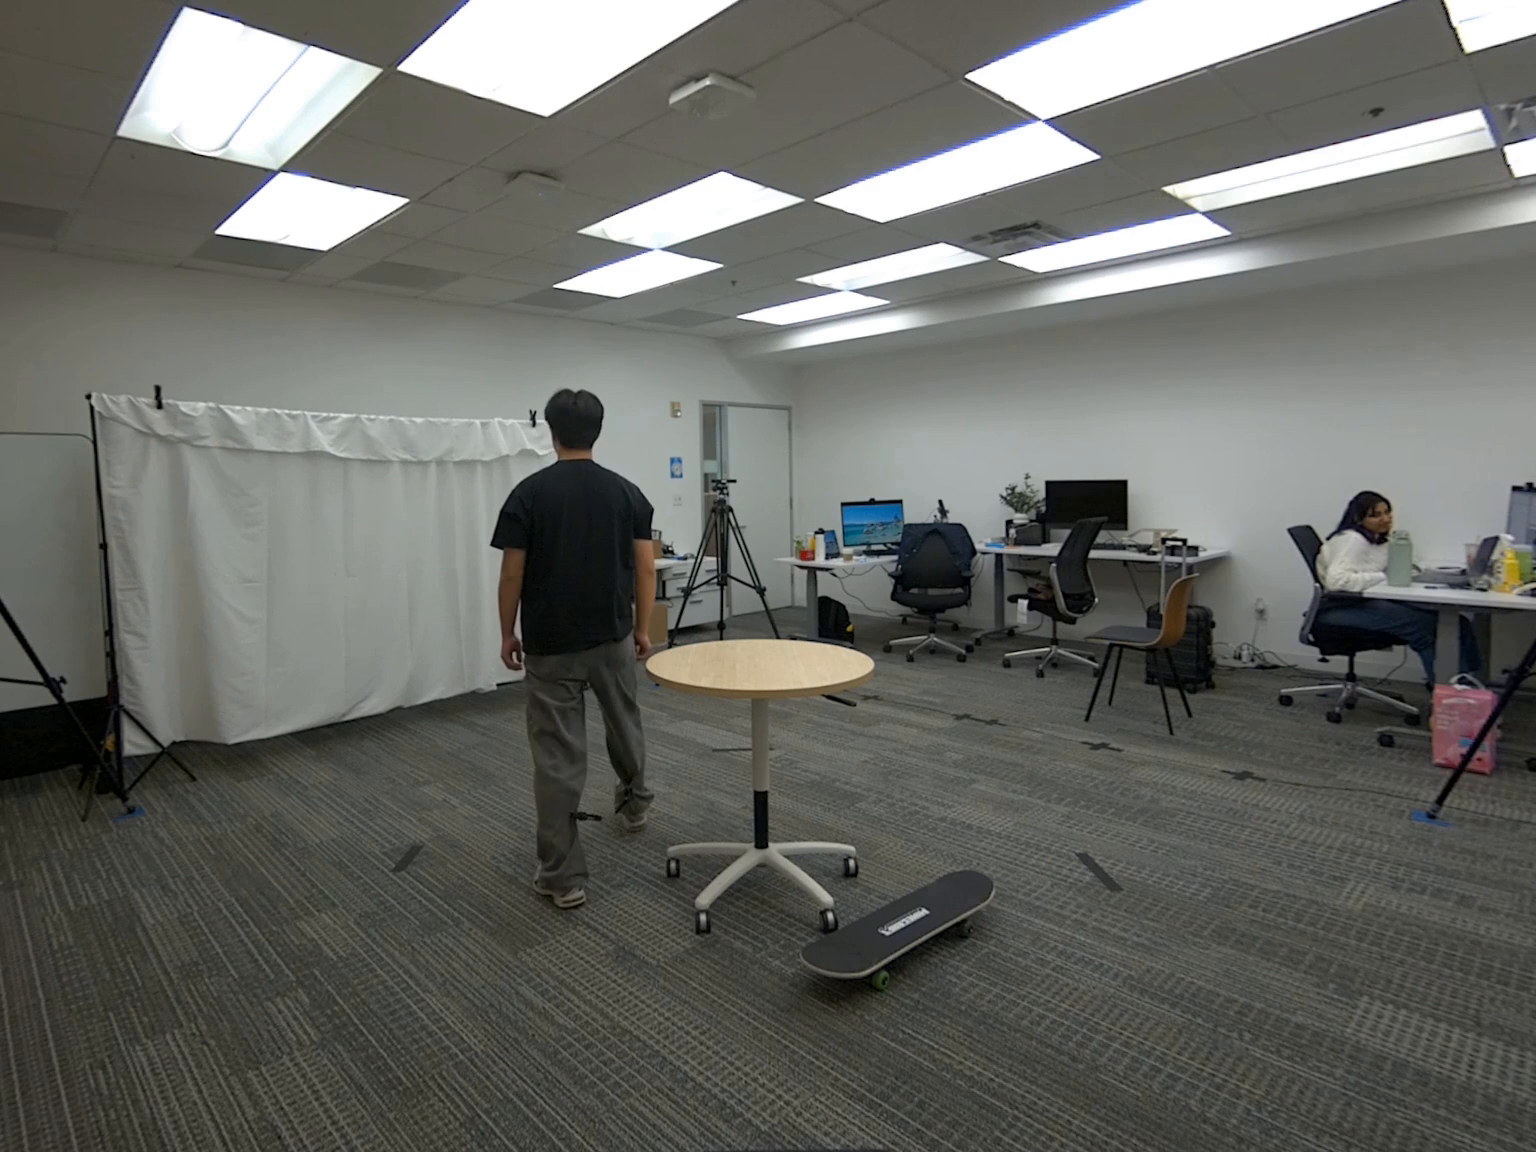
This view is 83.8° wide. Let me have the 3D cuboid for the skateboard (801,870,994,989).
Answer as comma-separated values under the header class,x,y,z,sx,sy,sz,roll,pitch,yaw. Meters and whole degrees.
class,x,y,z,sx,sy,sz,roll,pitch,yaw
skateboard,0.410,1.051,2.516,0.765,0.110,0.199,-7,8,-40
